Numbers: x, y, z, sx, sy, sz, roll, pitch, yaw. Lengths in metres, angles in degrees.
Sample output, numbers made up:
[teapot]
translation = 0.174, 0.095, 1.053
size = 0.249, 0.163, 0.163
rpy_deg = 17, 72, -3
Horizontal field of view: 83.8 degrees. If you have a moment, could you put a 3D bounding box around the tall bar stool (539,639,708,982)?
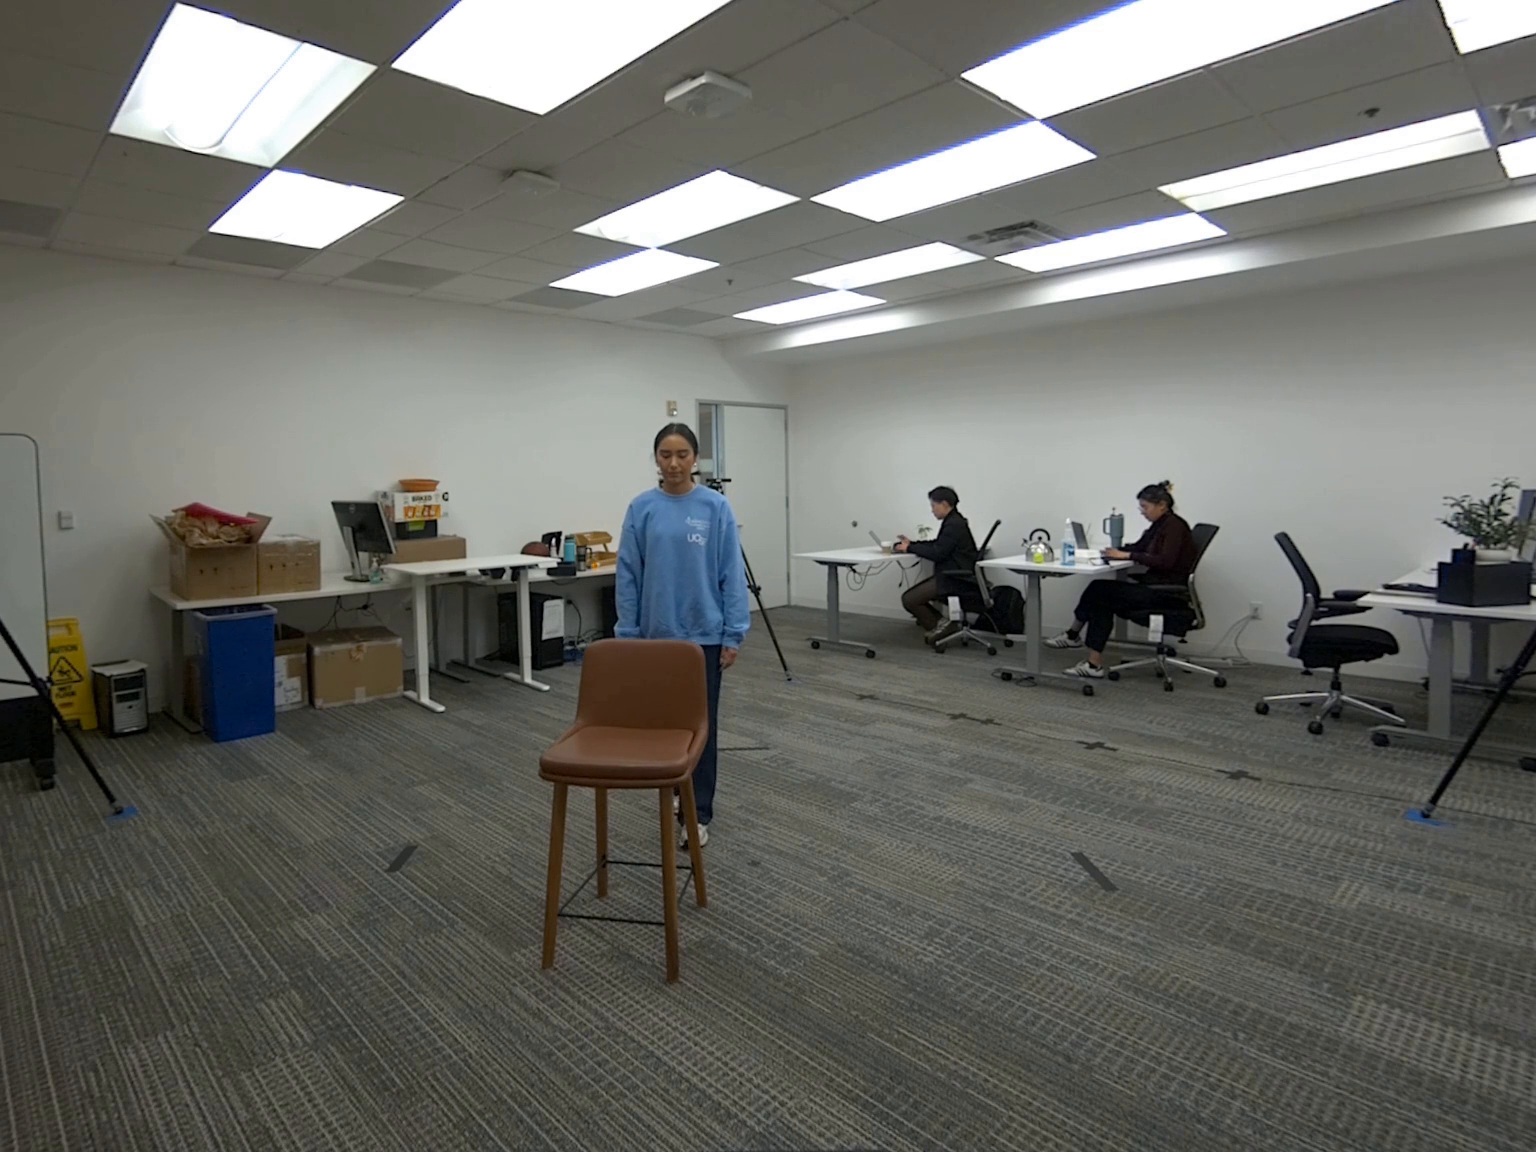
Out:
[tall bar stool]
translation = -0.431, 0.675, 2.618
size = 0.462, 0.888, 0.463
rpy_deg = 0, 3, 12
